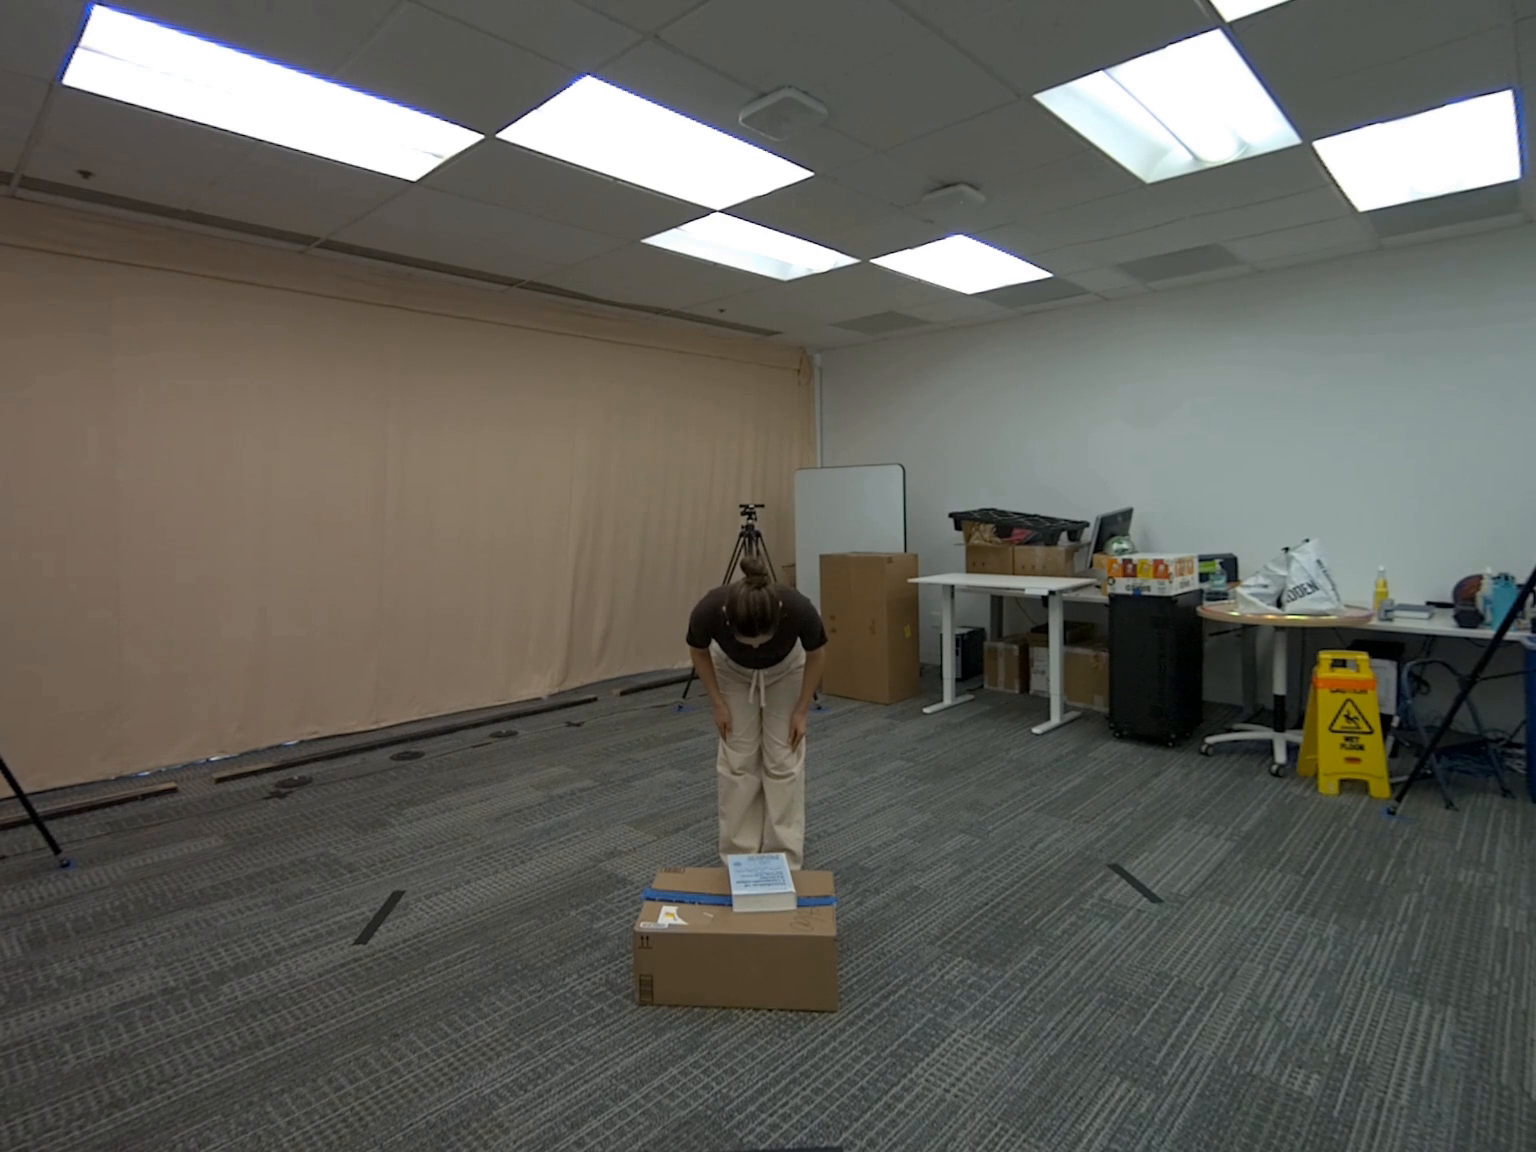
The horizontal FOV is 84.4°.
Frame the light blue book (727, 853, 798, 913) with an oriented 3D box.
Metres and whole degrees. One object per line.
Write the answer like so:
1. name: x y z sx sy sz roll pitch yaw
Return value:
1. light blue book: -0.022 0.927 2.582 0.191 0.059 0.263 -2 6 -3
